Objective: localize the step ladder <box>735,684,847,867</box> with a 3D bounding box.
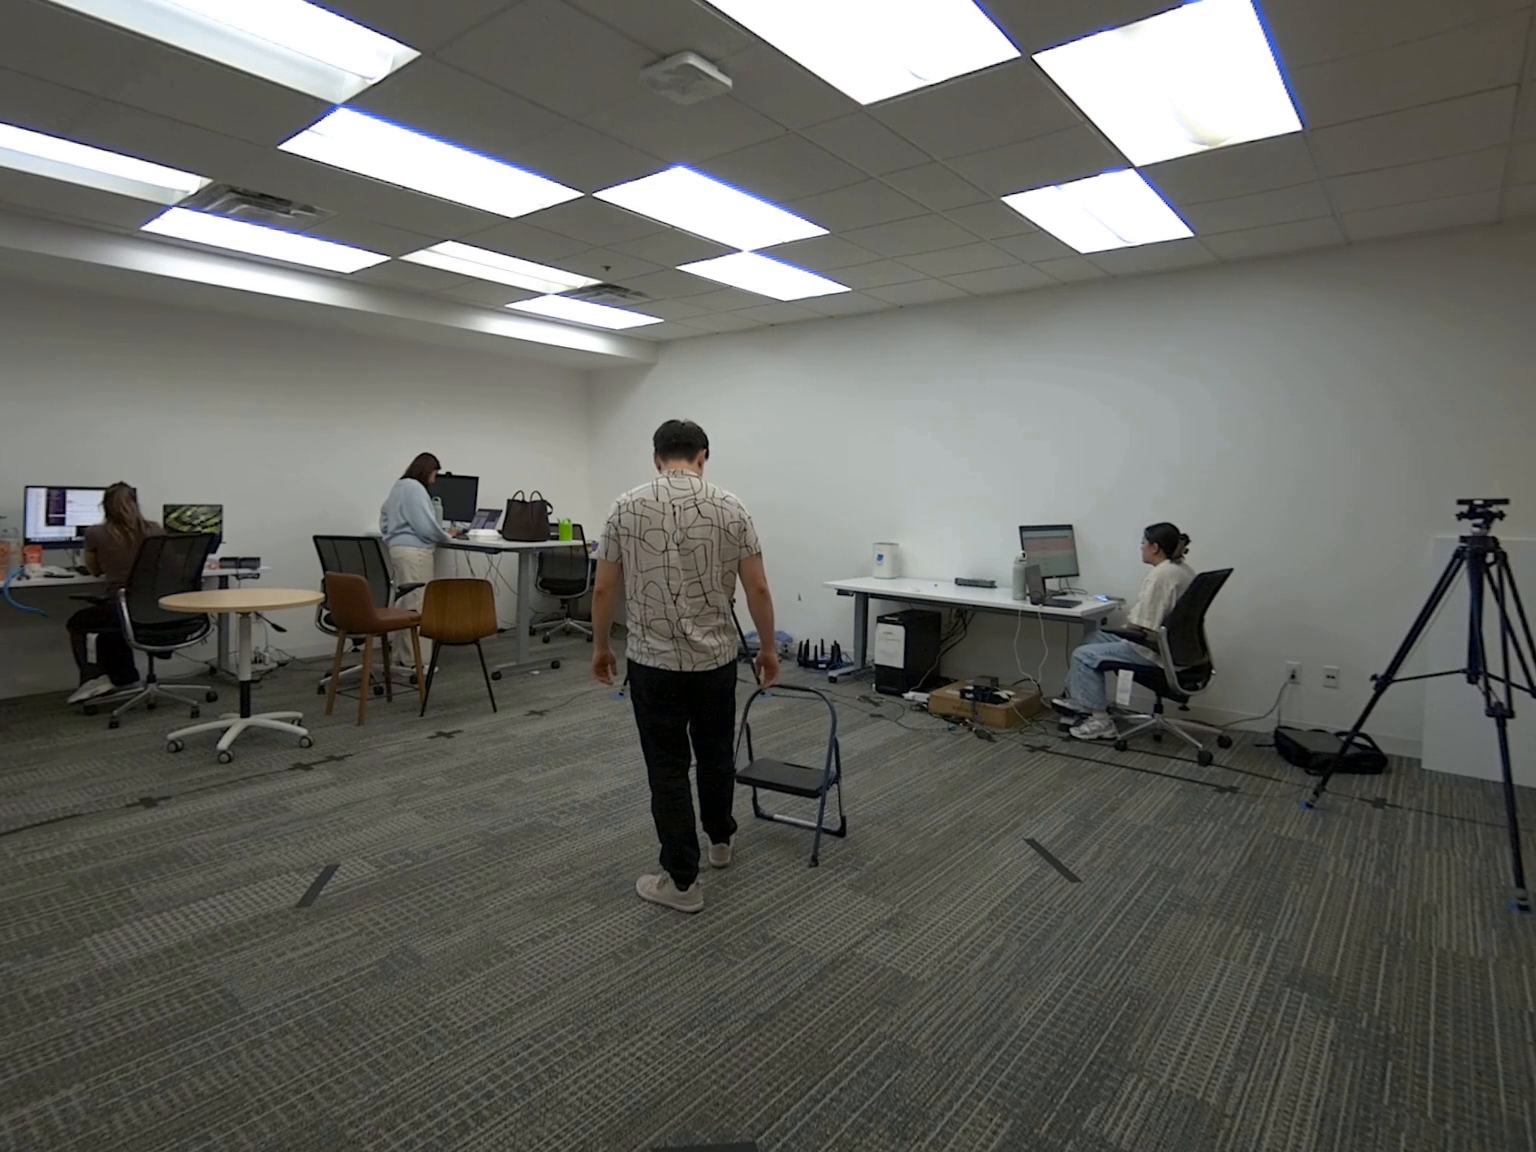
[{"bbox_3d":[0.062,0.744,3.382,0.442,0.604,0.341,3,4,27],"label":"step ladder"}]
